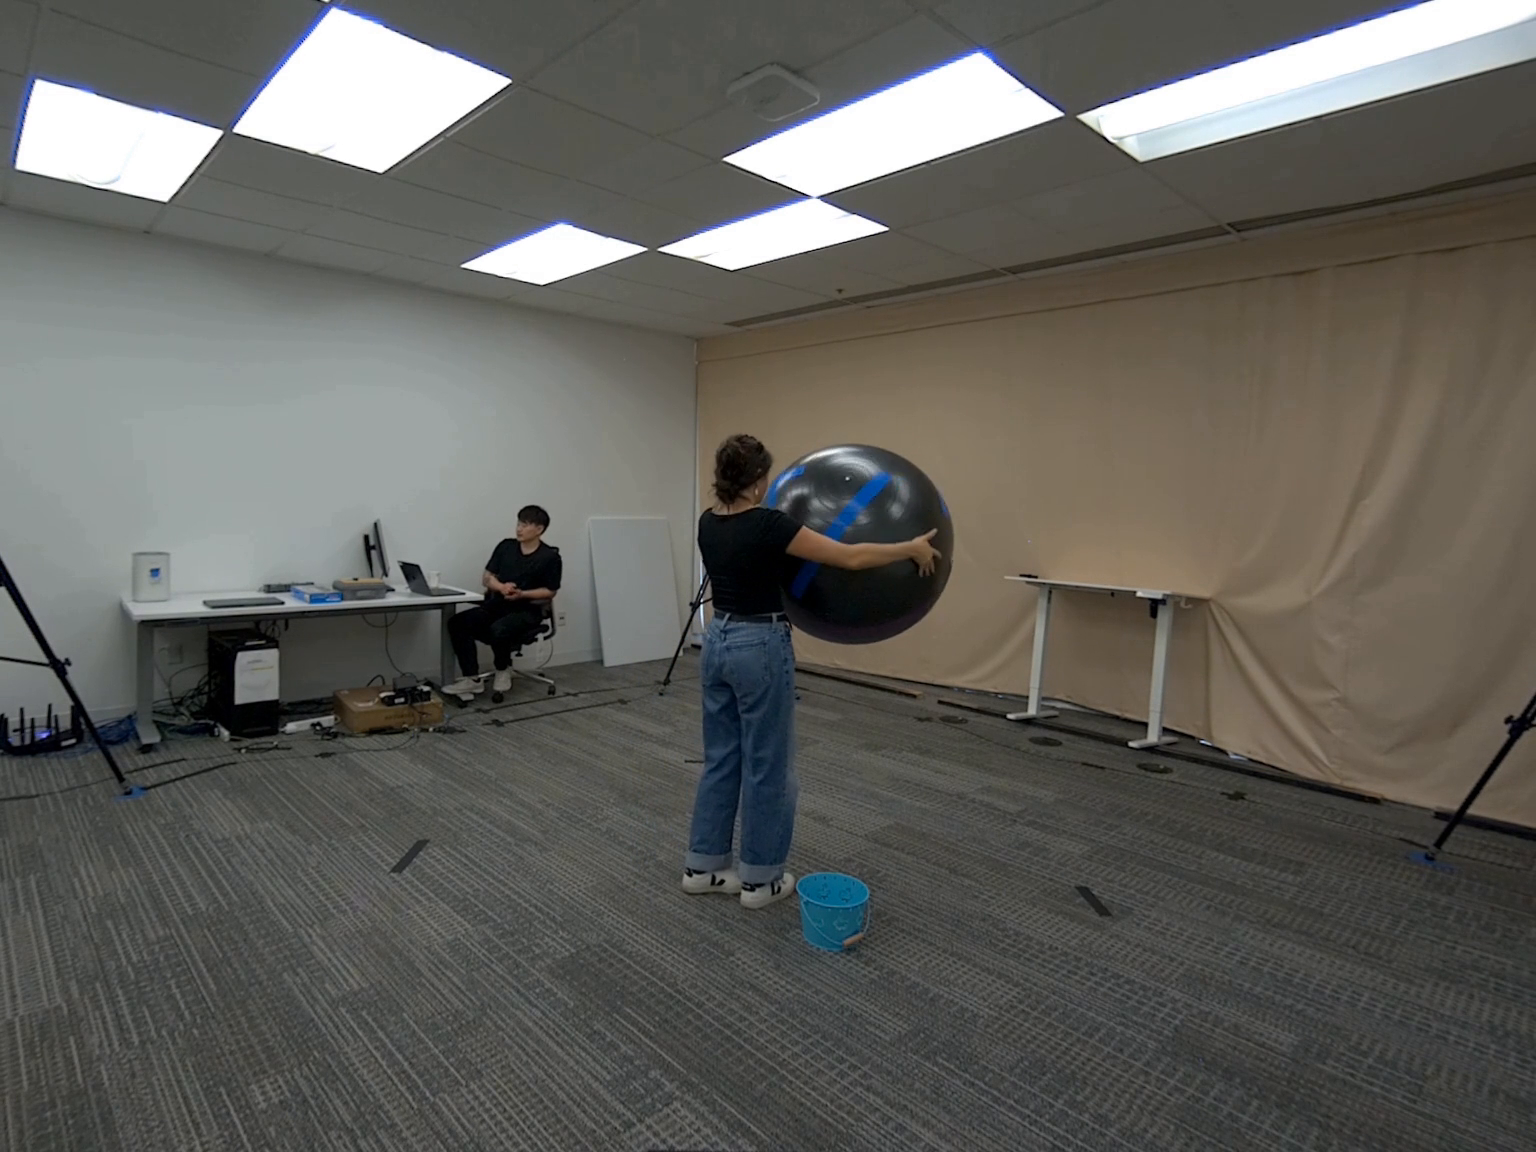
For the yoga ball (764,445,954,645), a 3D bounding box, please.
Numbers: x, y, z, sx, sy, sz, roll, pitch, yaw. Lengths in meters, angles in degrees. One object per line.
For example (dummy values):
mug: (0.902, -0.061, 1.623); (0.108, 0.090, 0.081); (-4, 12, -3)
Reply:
yoga ball: (0.315, -0.123, 3.193); (0.757, 0.756, 0.761); (1, 4, -1)
